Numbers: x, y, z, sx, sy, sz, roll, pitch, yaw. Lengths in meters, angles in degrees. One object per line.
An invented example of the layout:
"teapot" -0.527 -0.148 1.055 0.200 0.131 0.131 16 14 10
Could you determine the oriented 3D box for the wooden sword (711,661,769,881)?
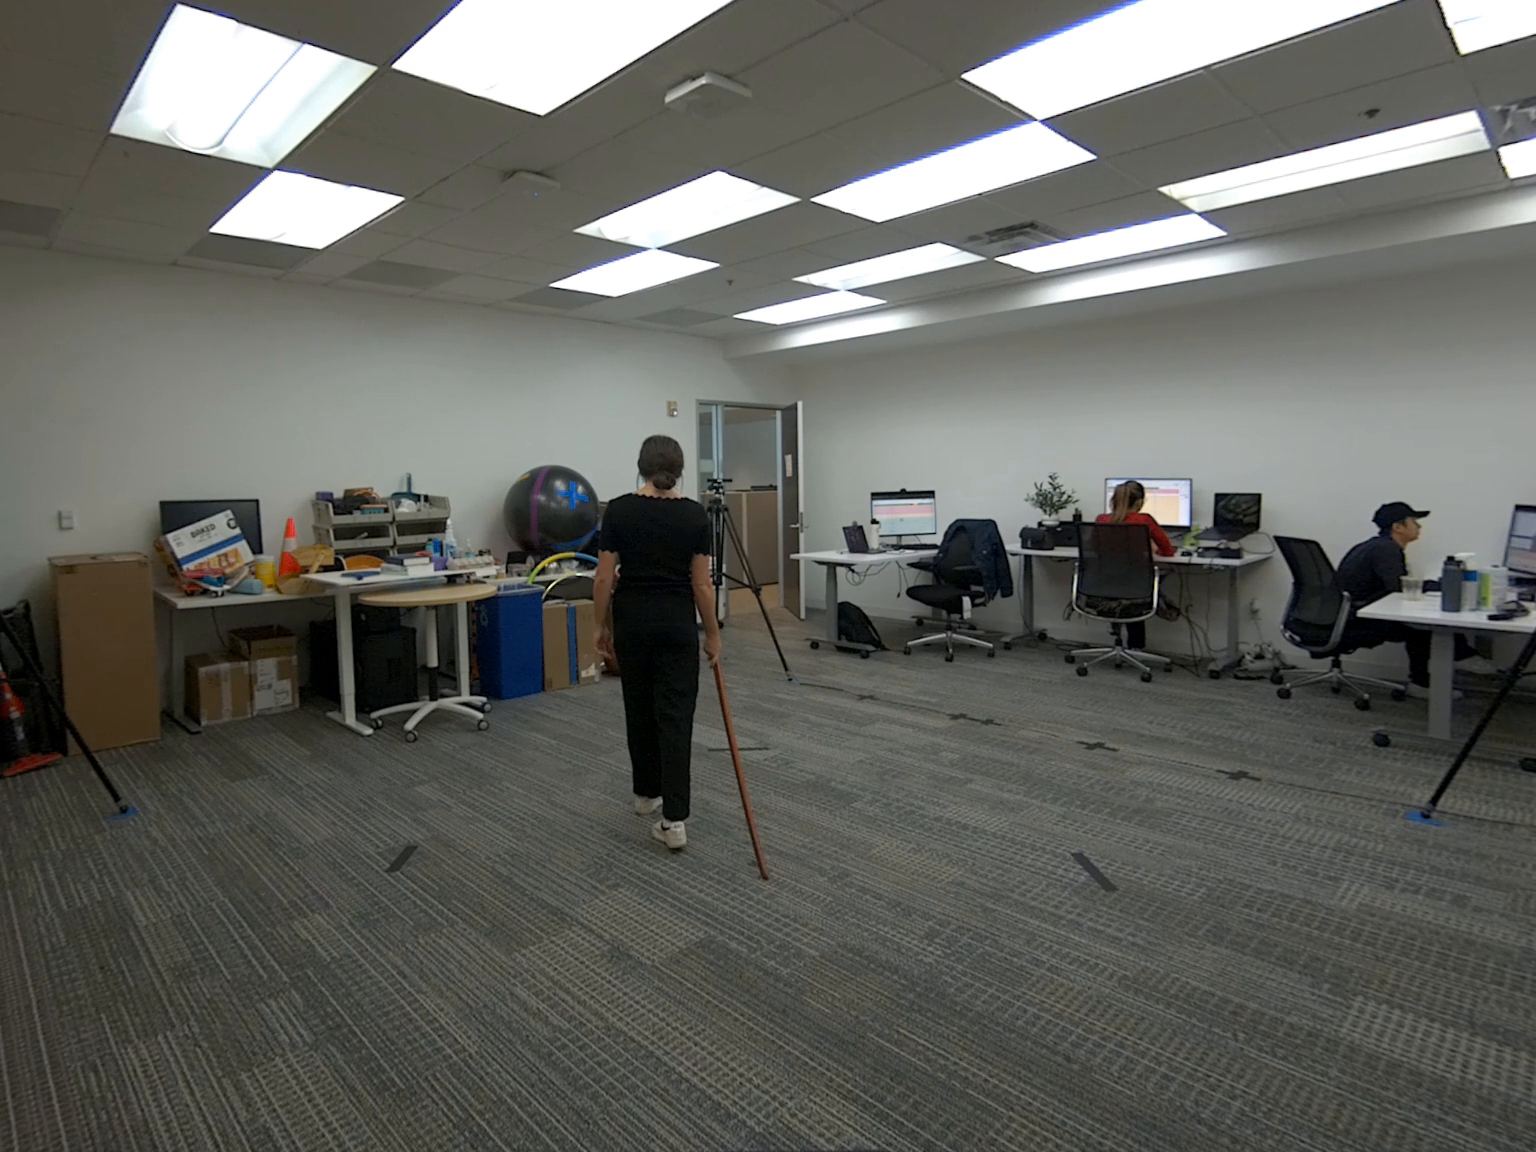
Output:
"wooden sword" -0.131 0.656 3.299 0.023 1.058 0.051 9 -43 -31
